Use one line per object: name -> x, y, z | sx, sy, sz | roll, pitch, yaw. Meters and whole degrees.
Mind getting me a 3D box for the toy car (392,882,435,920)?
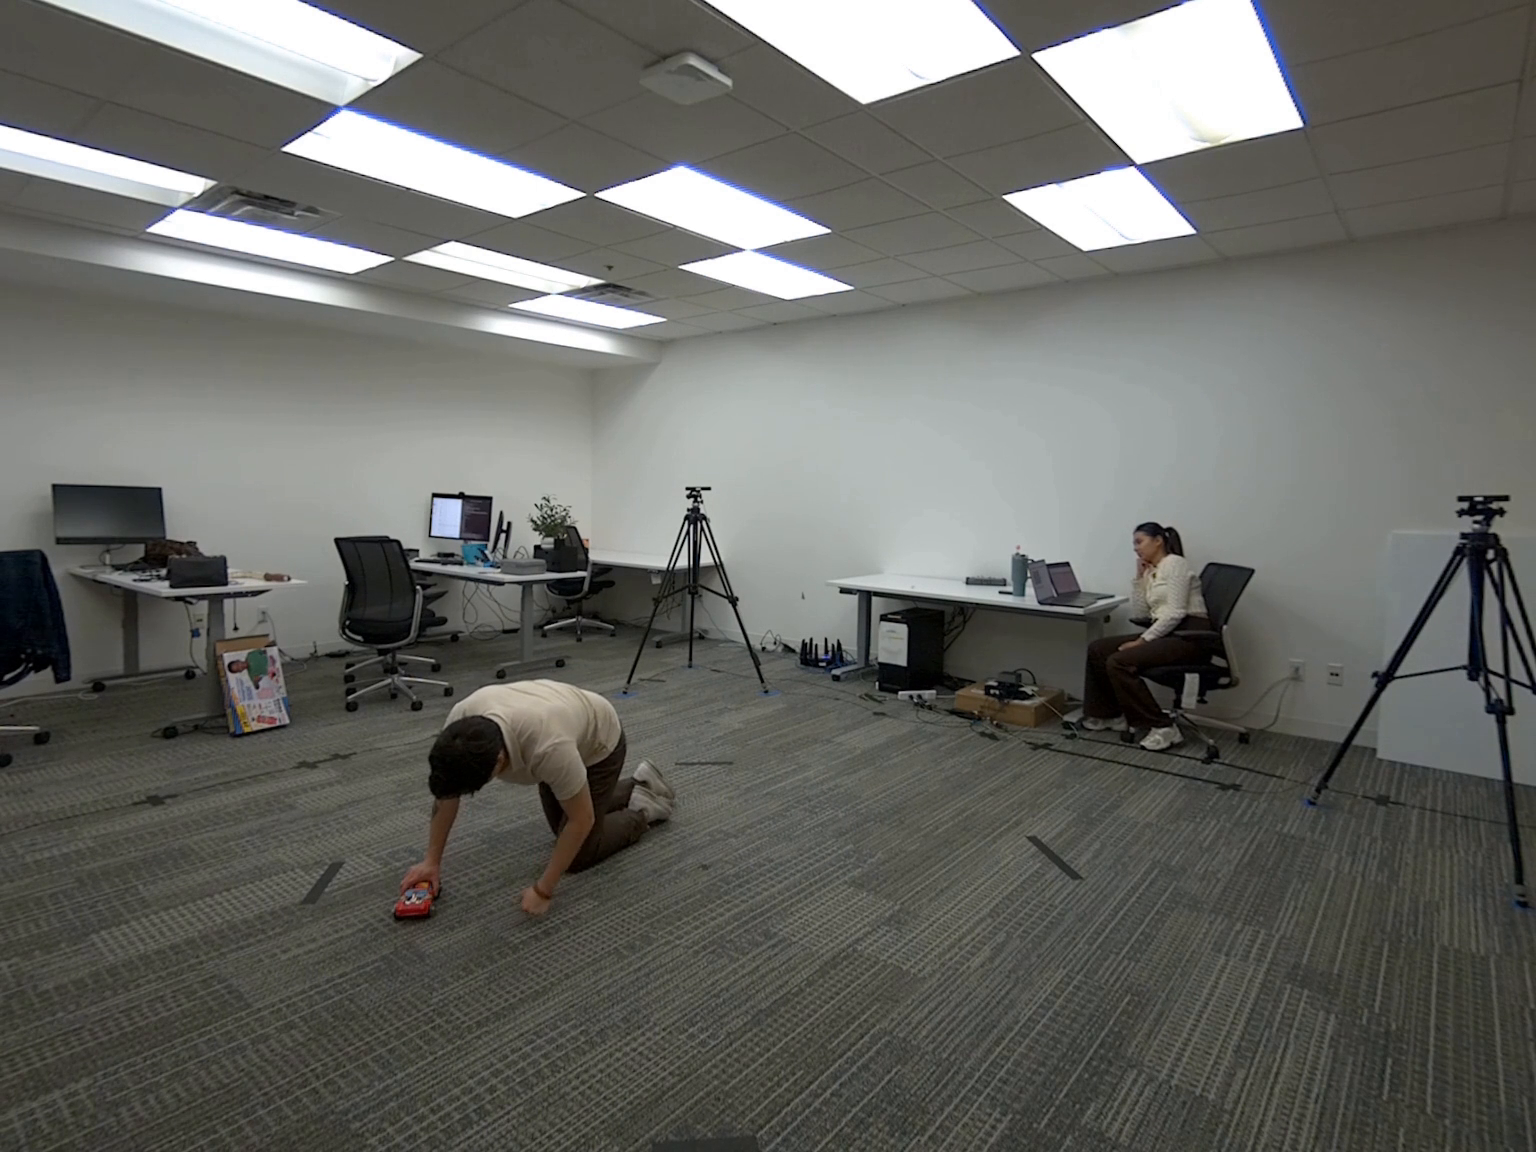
toy car -> -1.166, 1.055, 2.814 | 0.129, 0.082, 0.260 | -1, 15, -10
